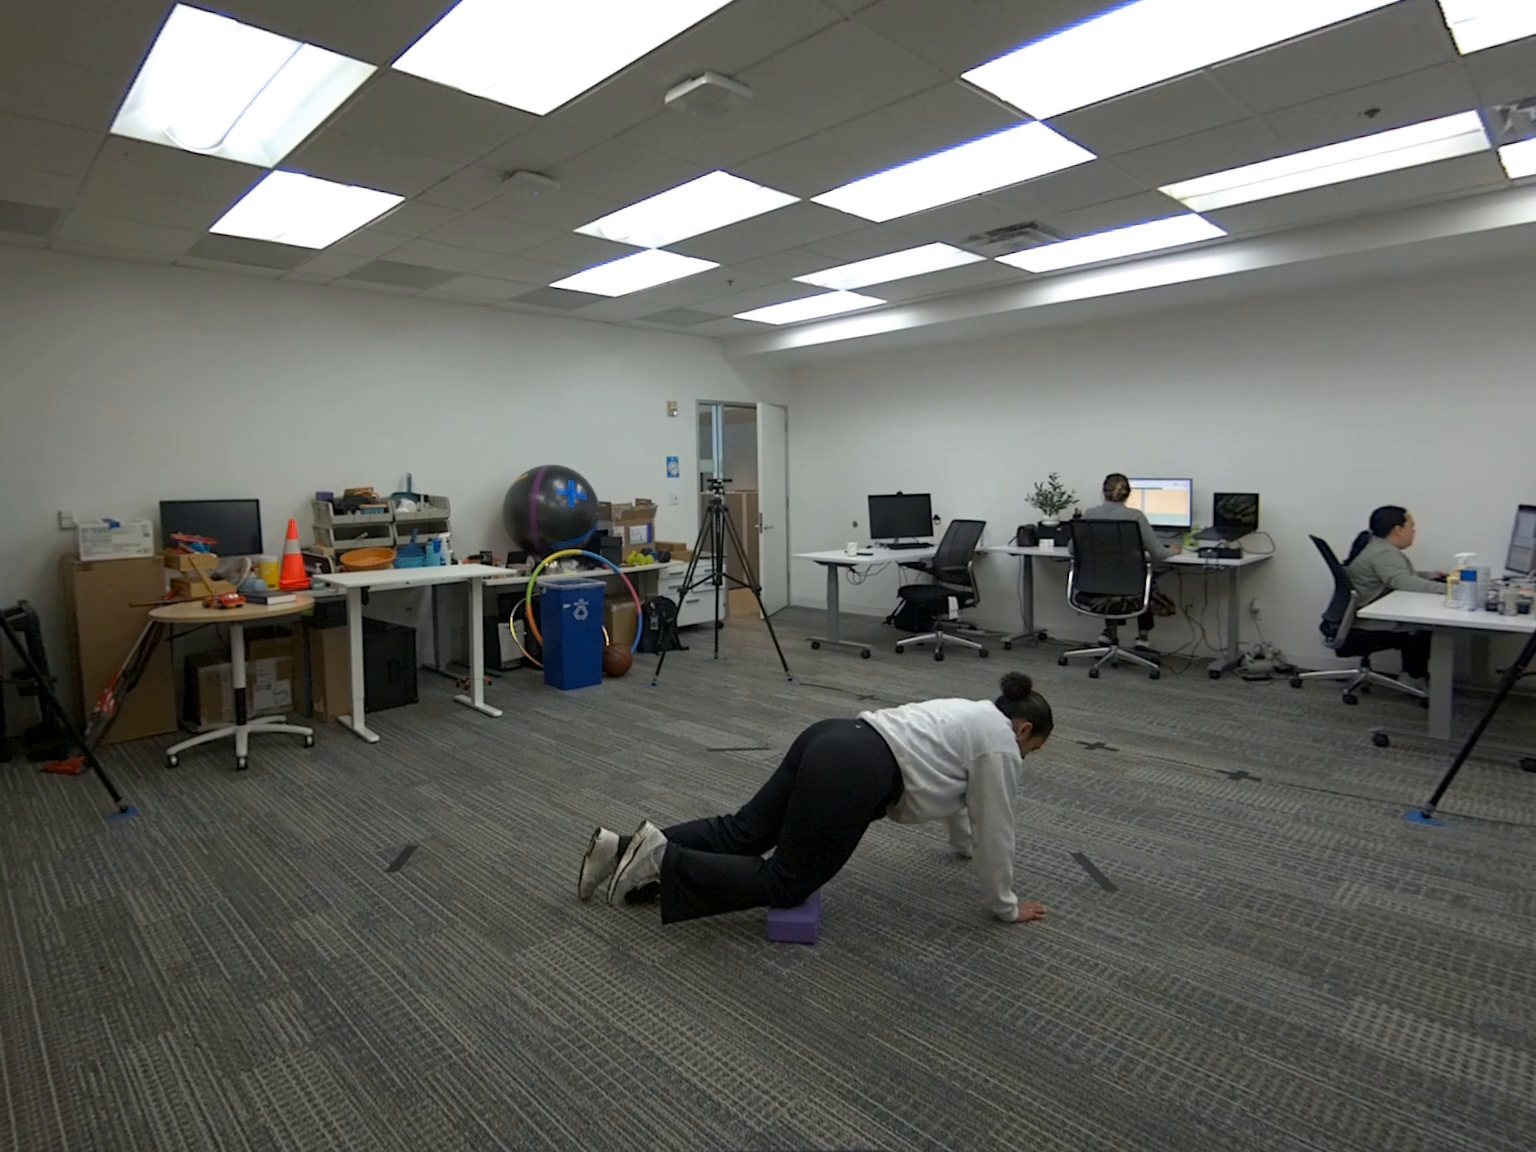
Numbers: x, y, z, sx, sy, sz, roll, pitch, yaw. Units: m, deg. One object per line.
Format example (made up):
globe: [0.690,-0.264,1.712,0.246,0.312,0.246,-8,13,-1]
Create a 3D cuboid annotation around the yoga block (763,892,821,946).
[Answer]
yoga block: [0.082,1.042,2.671,0.150,0.076,0.228,-2,6,10]
